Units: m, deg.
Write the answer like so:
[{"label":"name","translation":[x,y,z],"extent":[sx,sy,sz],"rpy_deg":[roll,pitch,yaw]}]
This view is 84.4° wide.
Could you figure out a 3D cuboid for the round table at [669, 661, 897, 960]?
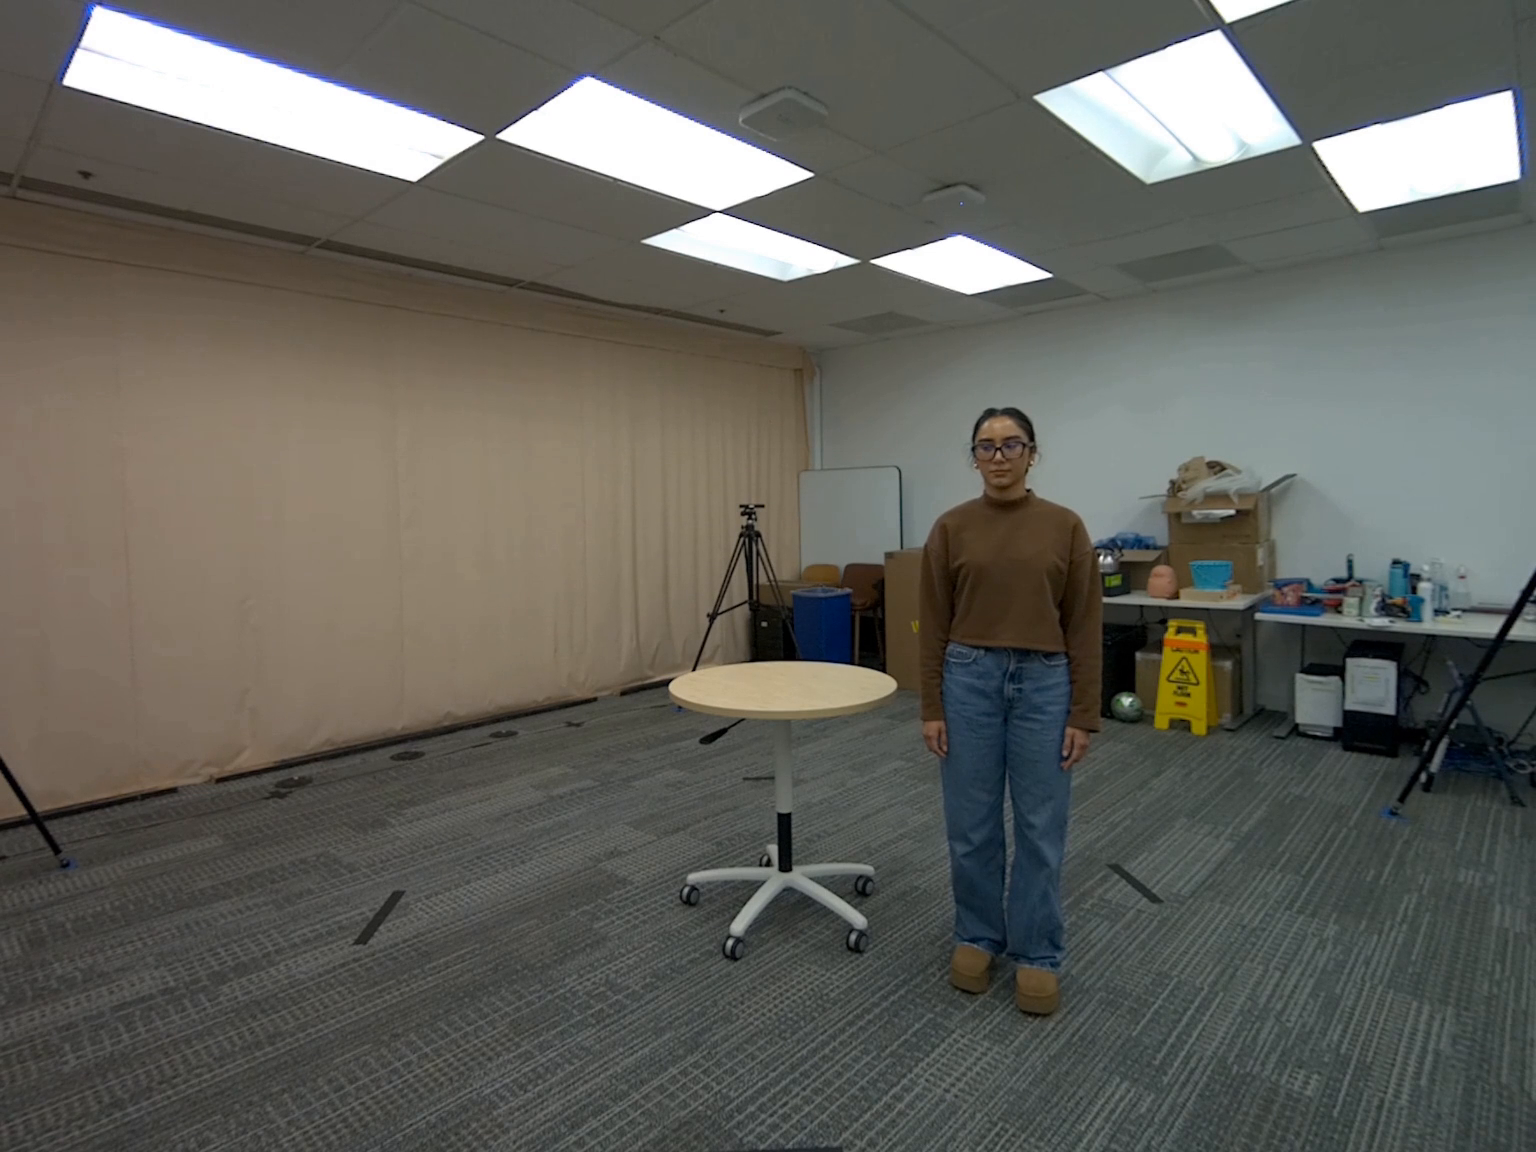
[{"label":"round table","translation":[0.060,0.757,2.870],"extent":[0.763,0.792,0.767],"rpy_deg":[-1,4,-2]}]
